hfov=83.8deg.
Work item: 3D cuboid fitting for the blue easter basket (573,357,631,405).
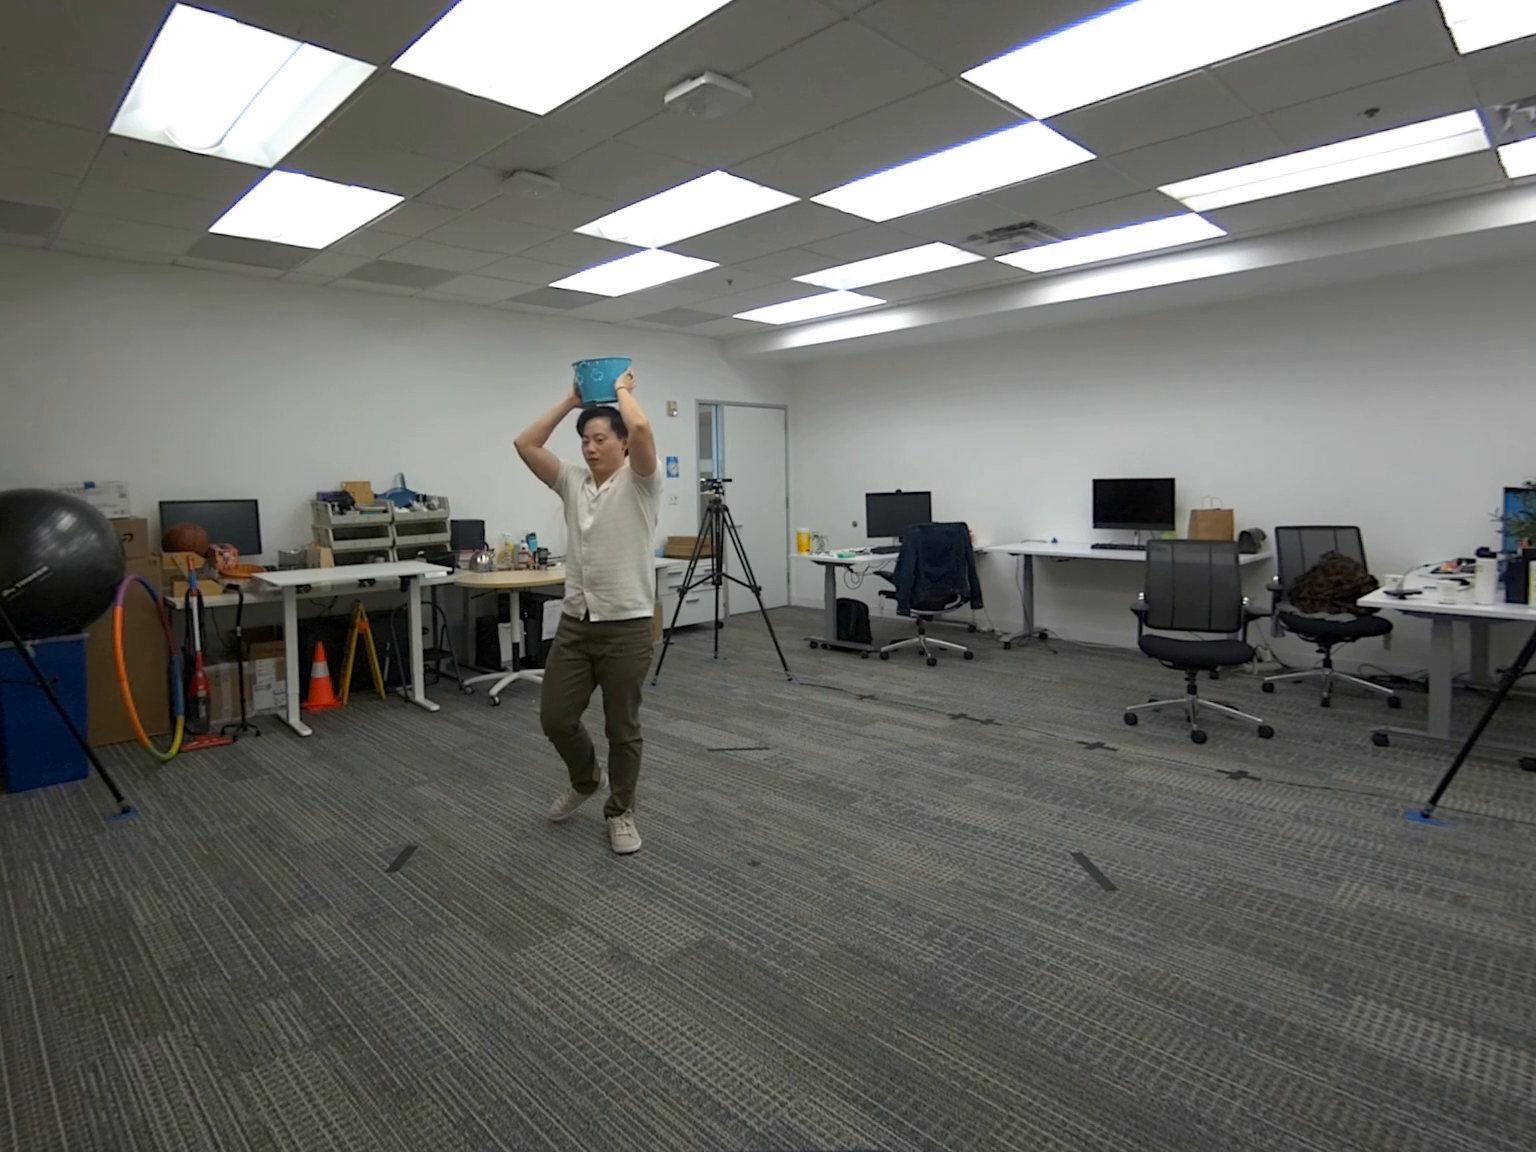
[{"bbox_3d":[-0.645,-0.752,3.312,0.243,0.155,0.244,-7,4,-1],"label":"blue easter basket"}]
